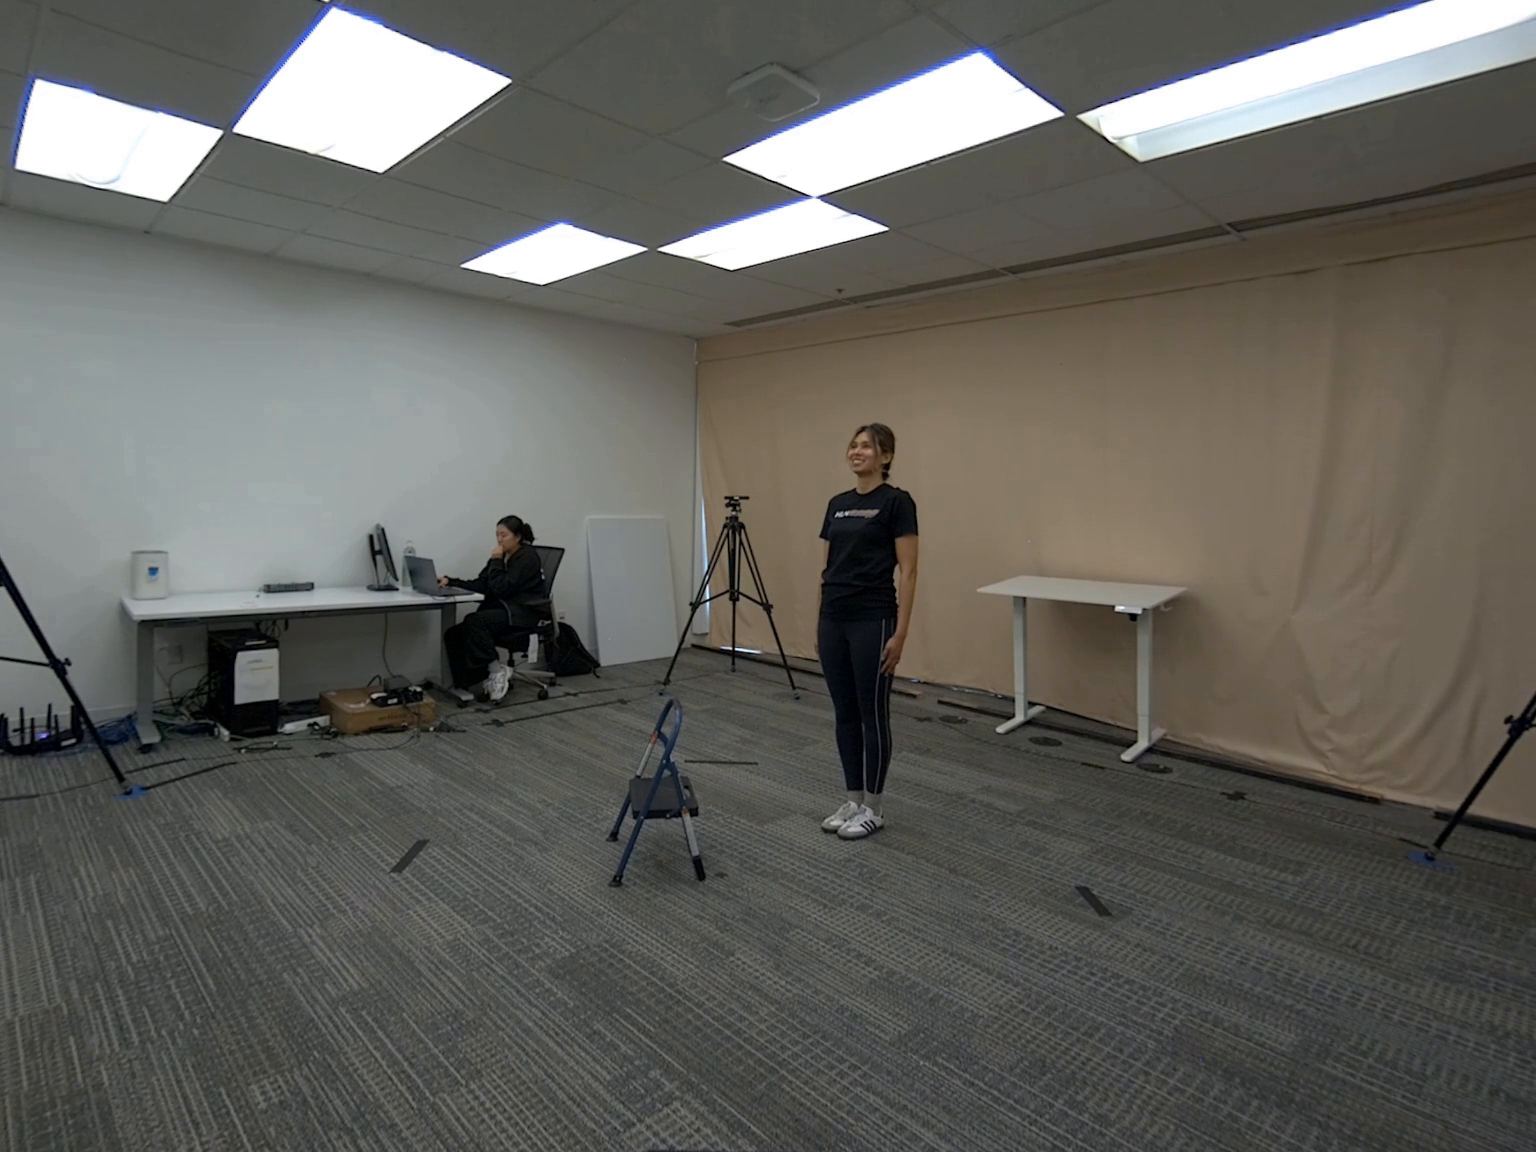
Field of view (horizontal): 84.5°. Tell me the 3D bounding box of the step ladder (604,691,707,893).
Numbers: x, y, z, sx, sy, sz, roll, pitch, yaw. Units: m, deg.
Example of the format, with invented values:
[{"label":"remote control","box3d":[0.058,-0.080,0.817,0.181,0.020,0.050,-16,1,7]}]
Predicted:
[{"label":"step ladder","box3d":[-0.441,0.790,3.208,0.346,0.605,0.435,0,4,-11]}]
